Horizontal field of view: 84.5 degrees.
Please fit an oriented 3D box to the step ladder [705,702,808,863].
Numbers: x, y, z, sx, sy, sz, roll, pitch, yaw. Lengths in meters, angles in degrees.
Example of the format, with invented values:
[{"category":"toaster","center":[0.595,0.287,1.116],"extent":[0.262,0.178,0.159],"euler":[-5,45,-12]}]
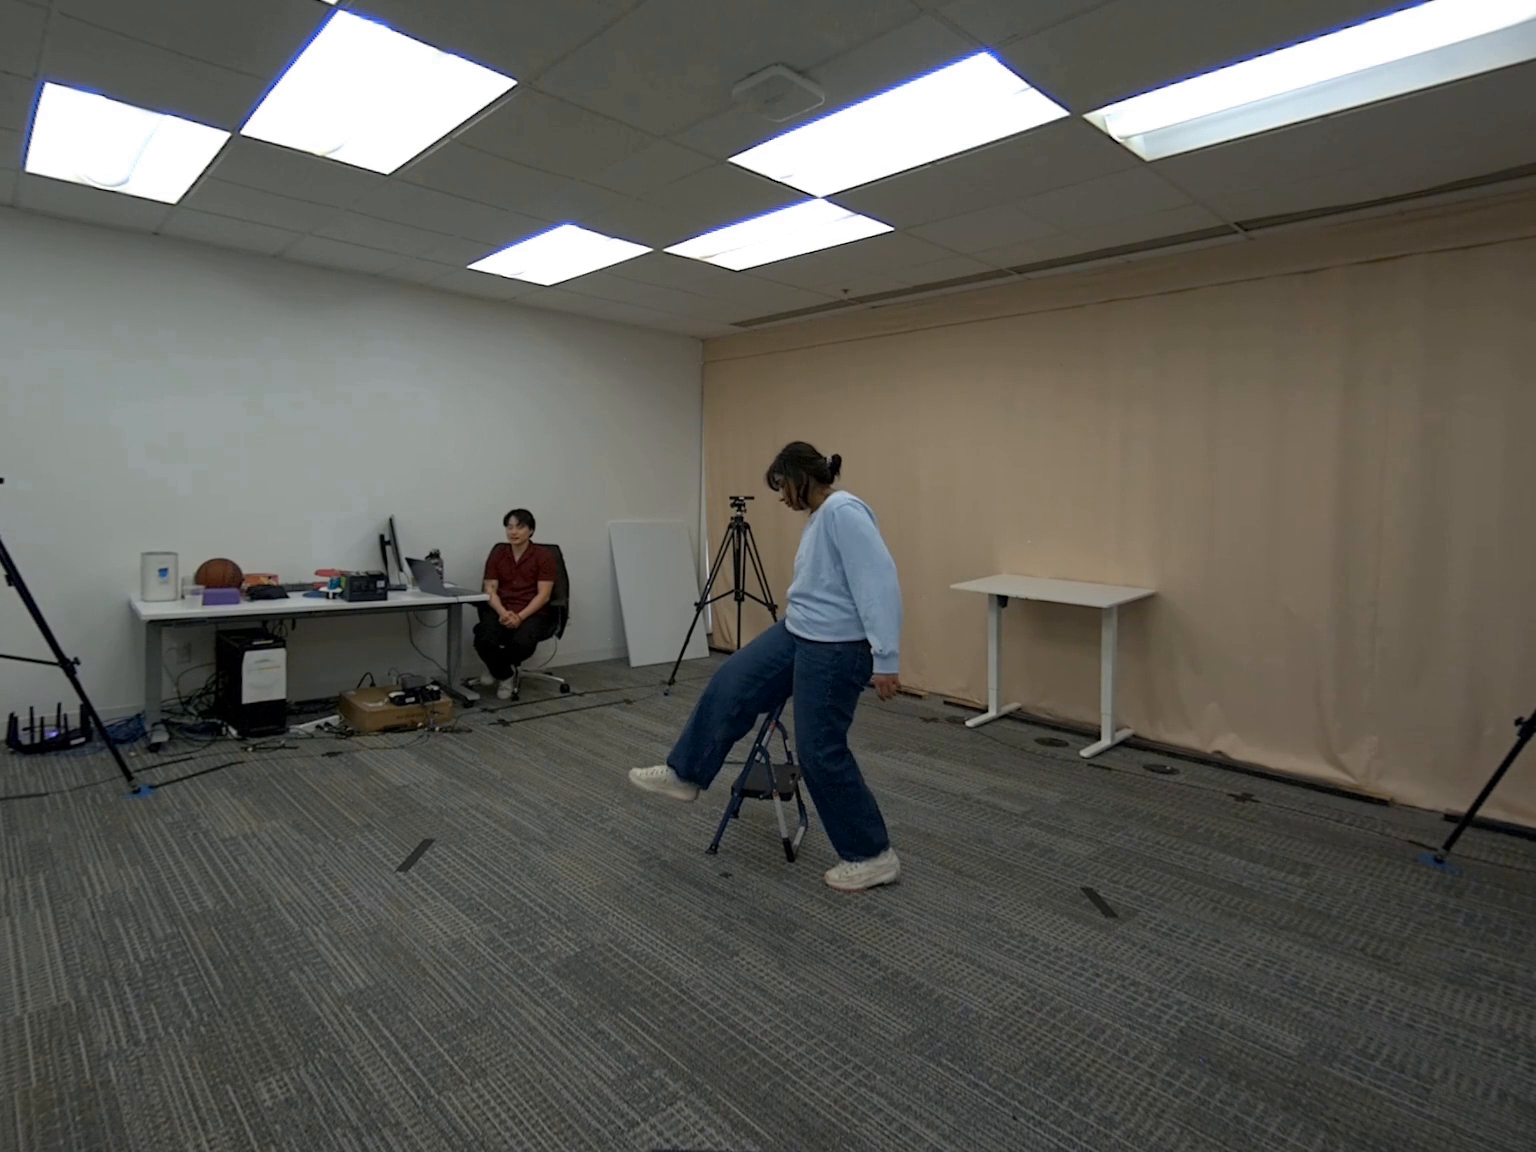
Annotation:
[{"category":"step ladder","center":[-0.031,0.774,3.445],"extent":[0.353,0.605,0.427],"euler":[2,3,11]}]
